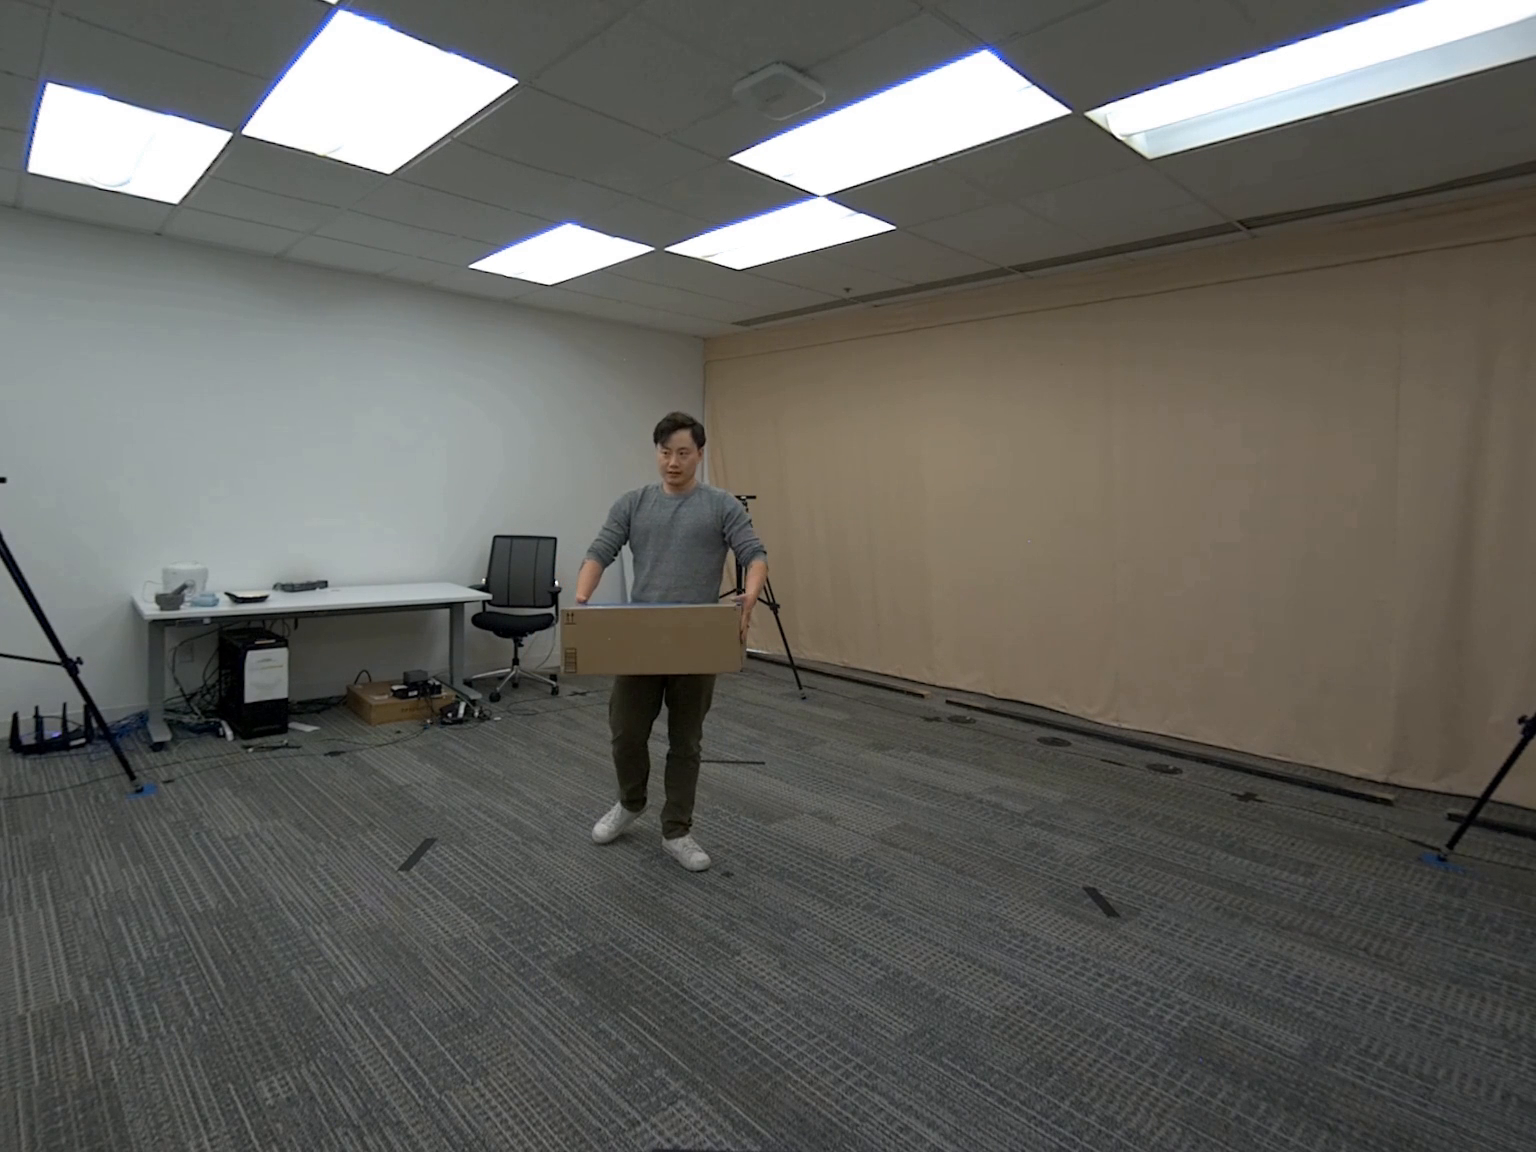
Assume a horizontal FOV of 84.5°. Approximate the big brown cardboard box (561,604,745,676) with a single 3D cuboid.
[{"bbox_3d":[-0.411,0.210,2.878,0.587,0.233,0.418,0,-2,-4],"label":"big brown cardboard box"}]
